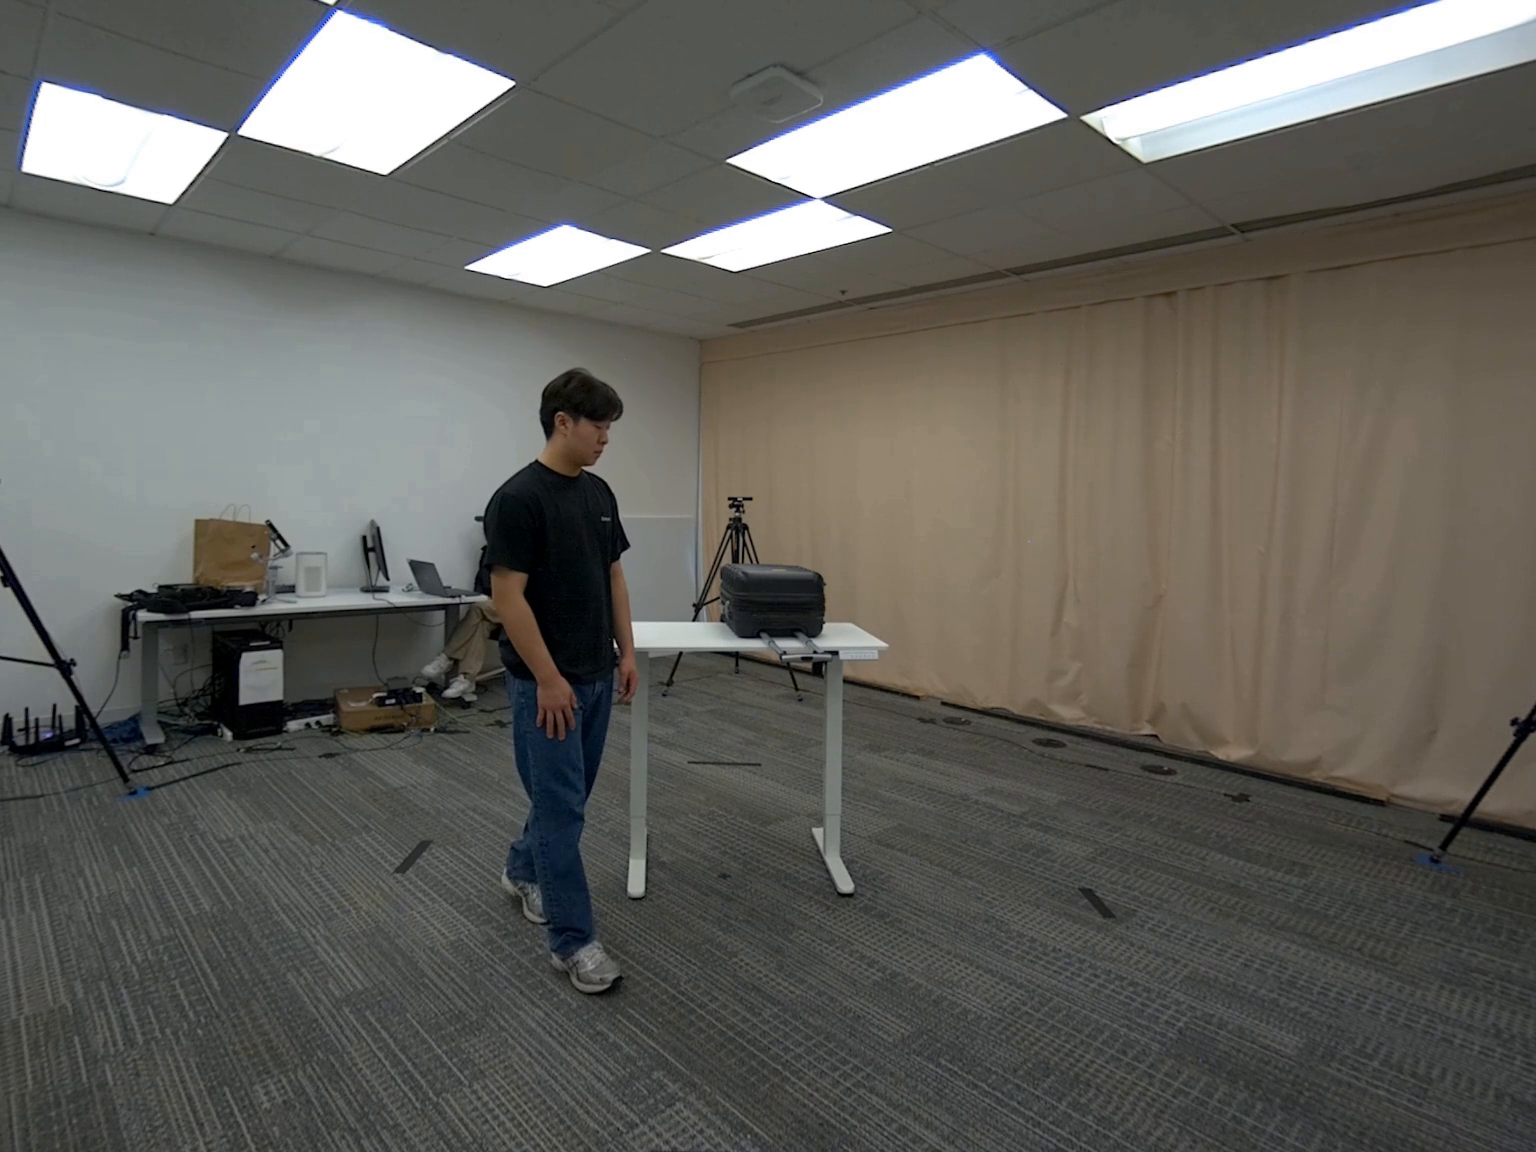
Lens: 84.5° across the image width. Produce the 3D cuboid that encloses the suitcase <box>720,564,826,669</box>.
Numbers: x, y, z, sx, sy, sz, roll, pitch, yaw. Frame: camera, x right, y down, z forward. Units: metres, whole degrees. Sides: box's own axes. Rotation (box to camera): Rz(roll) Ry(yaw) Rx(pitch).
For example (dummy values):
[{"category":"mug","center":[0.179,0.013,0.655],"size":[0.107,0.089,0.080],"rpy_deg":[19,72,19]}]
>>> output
[{"category":"suitcase","center":[0.040,0.105,3.094],"size":[0.381,0.257,0.987],"rpy_deg":[1,3,-10]}]
